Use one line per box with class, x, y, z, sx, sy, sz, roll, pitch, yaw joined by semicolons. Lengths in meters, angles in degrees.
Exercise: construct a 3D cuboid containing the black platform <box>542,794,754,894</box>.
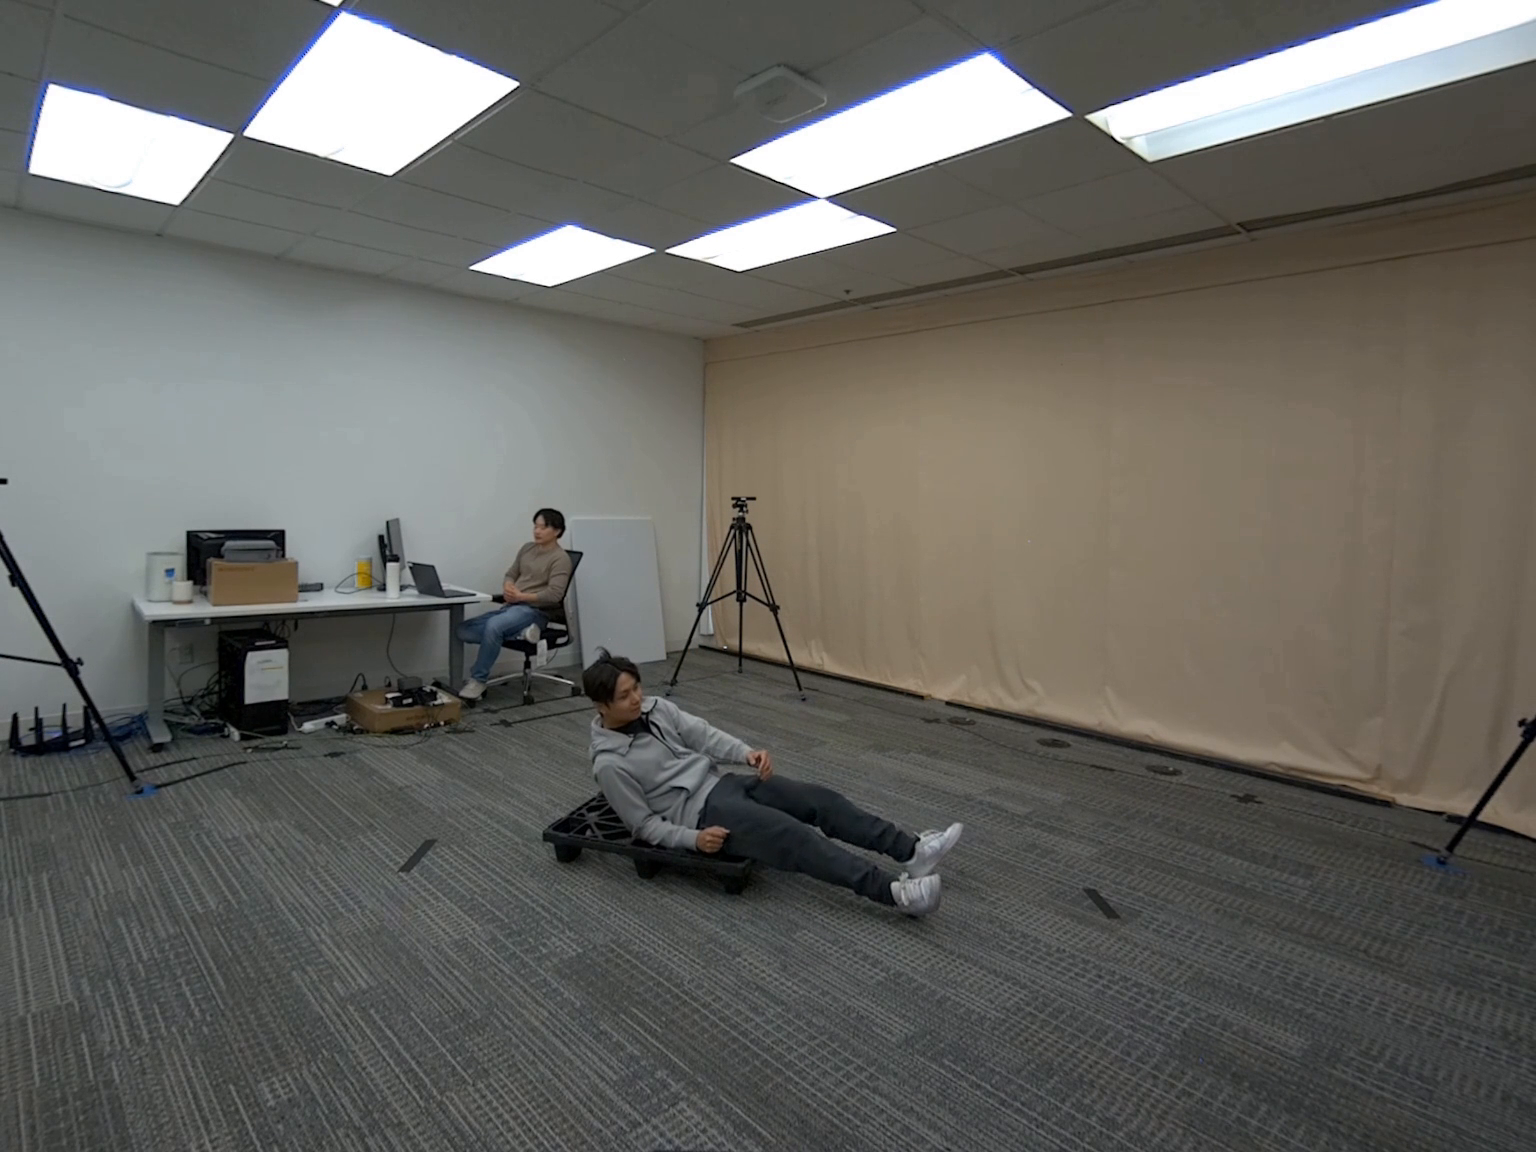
black platform;-0.381;1.011;3.284;0.818;0.143;0.598;3;7;19
